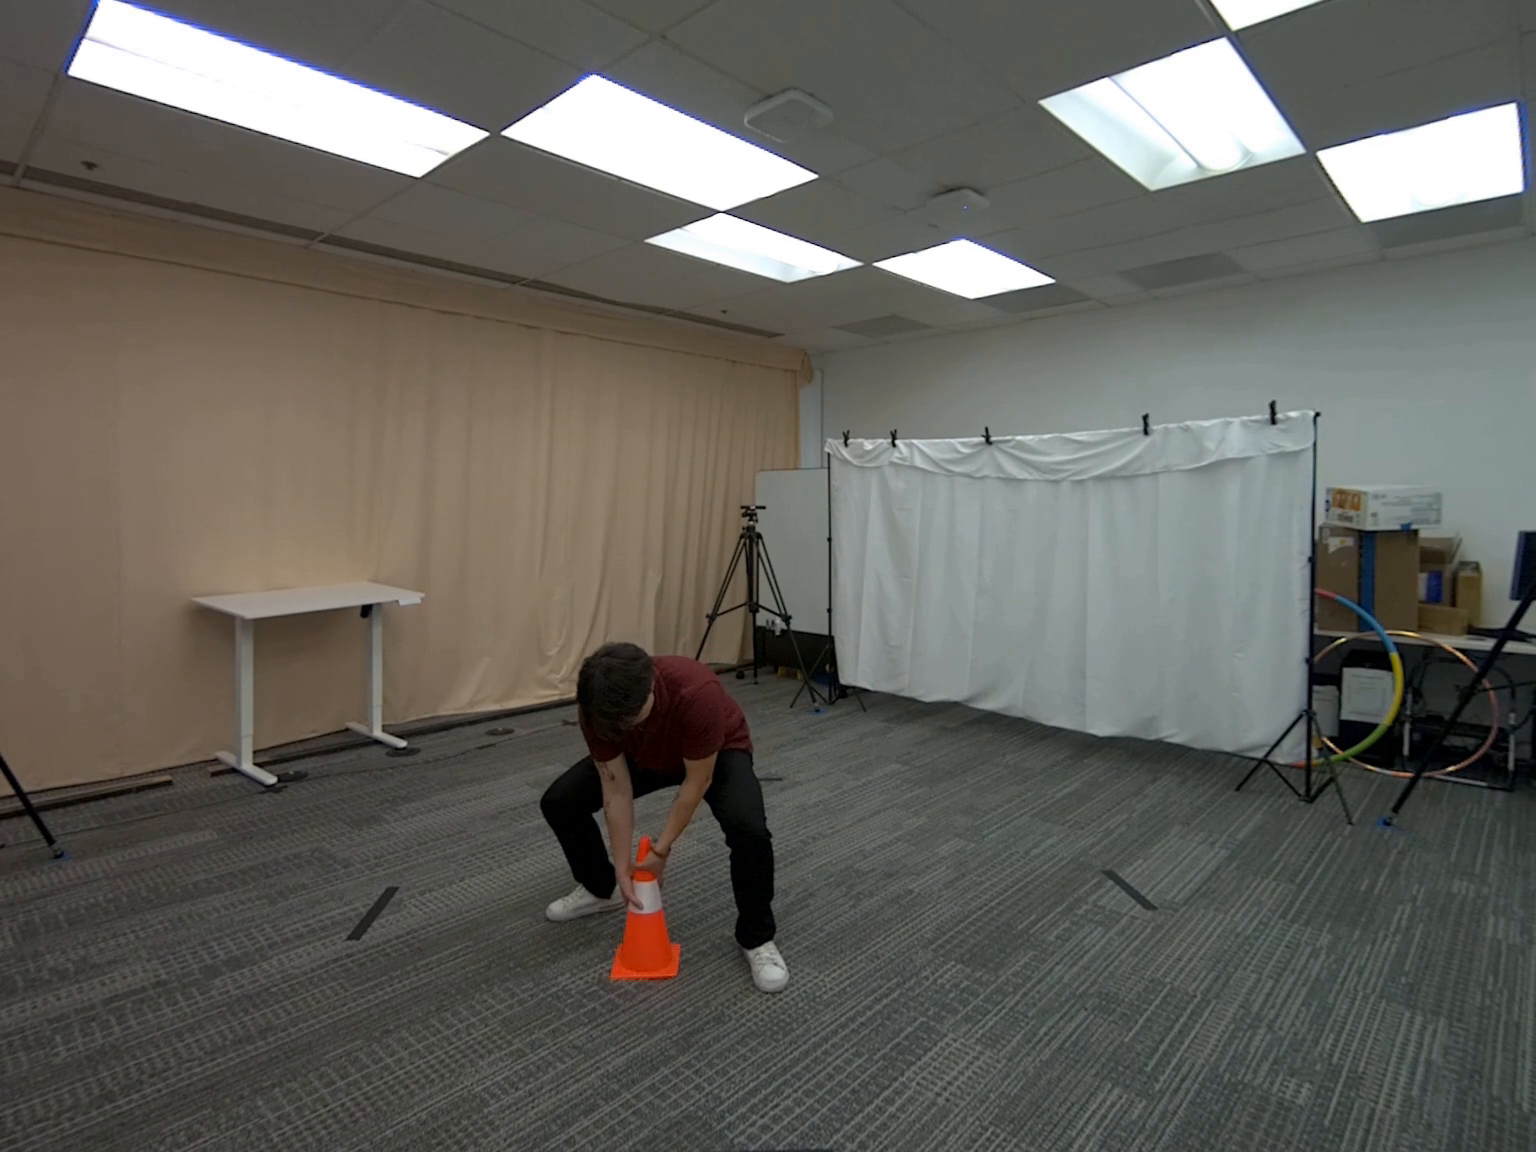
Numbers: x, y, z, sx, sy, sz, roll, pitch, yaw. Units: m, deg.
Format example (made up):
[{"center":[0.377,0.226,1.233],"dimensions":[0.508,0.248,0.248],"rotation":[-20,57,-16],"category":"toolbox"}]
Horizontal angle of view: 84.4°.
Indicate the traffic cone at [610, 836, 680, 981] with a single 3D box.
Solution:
[{"center":[-0.380,1.002,2.557],"dimensions":[0.204,0.383,0.205],"rotation":[-2,3,3],"category":"traffic cone"}]
